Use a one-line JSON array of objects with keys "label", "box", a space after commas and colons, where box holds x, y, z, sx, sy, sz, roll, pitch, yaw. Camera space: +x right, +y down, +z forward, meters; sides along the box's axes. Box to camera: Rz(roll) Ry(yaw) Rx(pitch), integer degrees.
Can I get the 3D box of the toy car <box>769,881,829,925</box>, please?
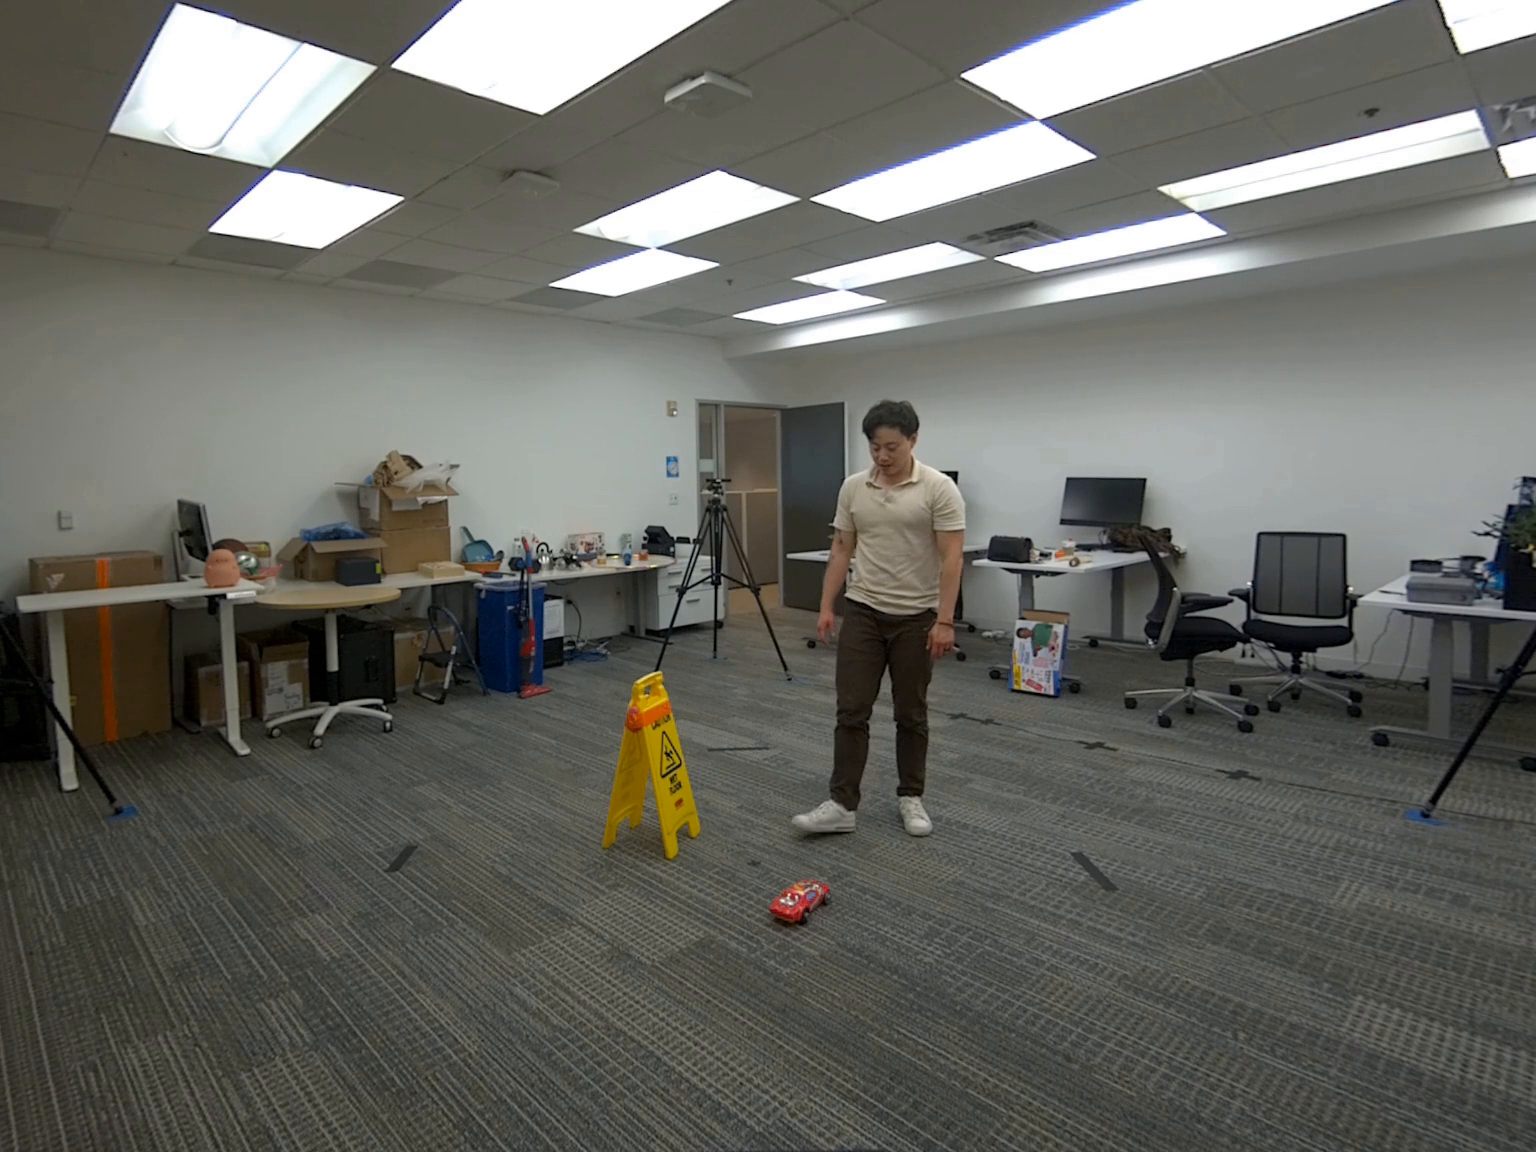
[{"label": "toy car", "box": [0.102, 1.051, 2.750, 0.134, 0.083, 0.246, 4, -3, 35]}]
